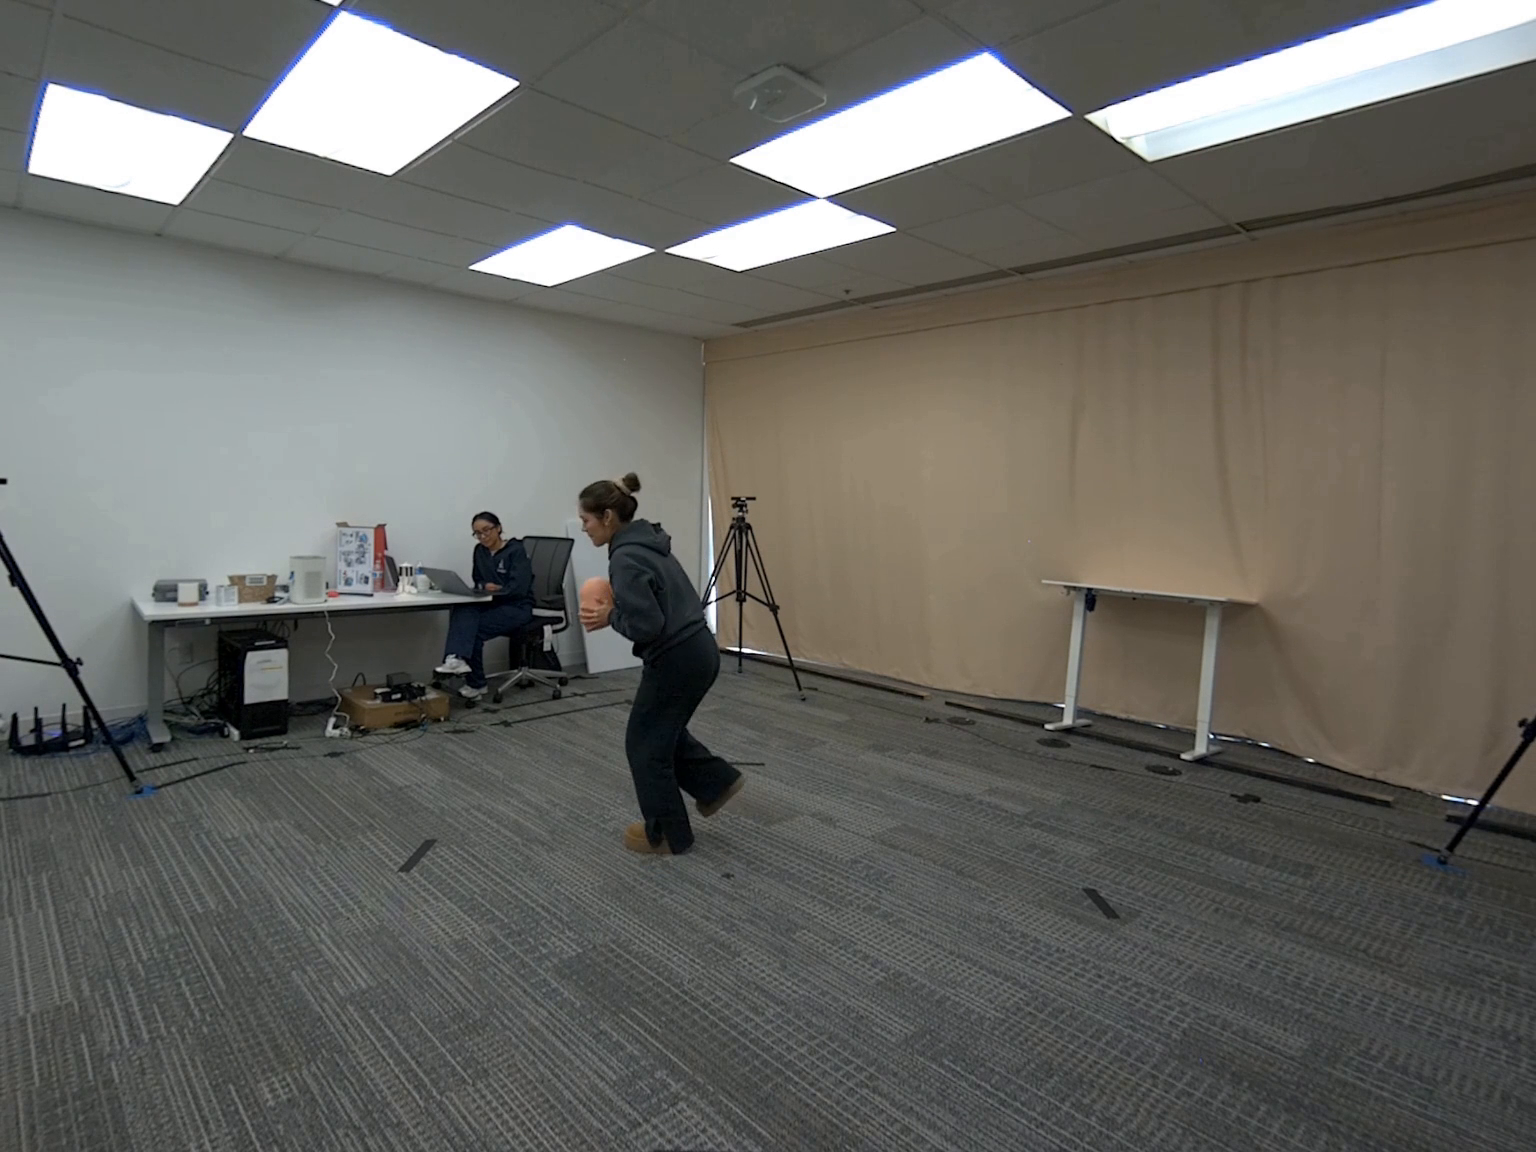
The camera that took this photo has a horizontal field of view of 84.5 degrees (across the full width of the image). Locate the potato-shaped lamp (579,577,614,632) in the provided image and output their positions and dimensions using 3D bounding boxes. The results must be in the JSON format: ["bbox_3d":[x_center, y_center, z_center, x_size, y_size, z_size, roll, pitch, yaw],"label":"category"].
[{"bbox_3d":[-0.670,0.068,3.319,0.172,0.197,0.164,-19,4,8],"label":"potato-shaped lamp"}]
